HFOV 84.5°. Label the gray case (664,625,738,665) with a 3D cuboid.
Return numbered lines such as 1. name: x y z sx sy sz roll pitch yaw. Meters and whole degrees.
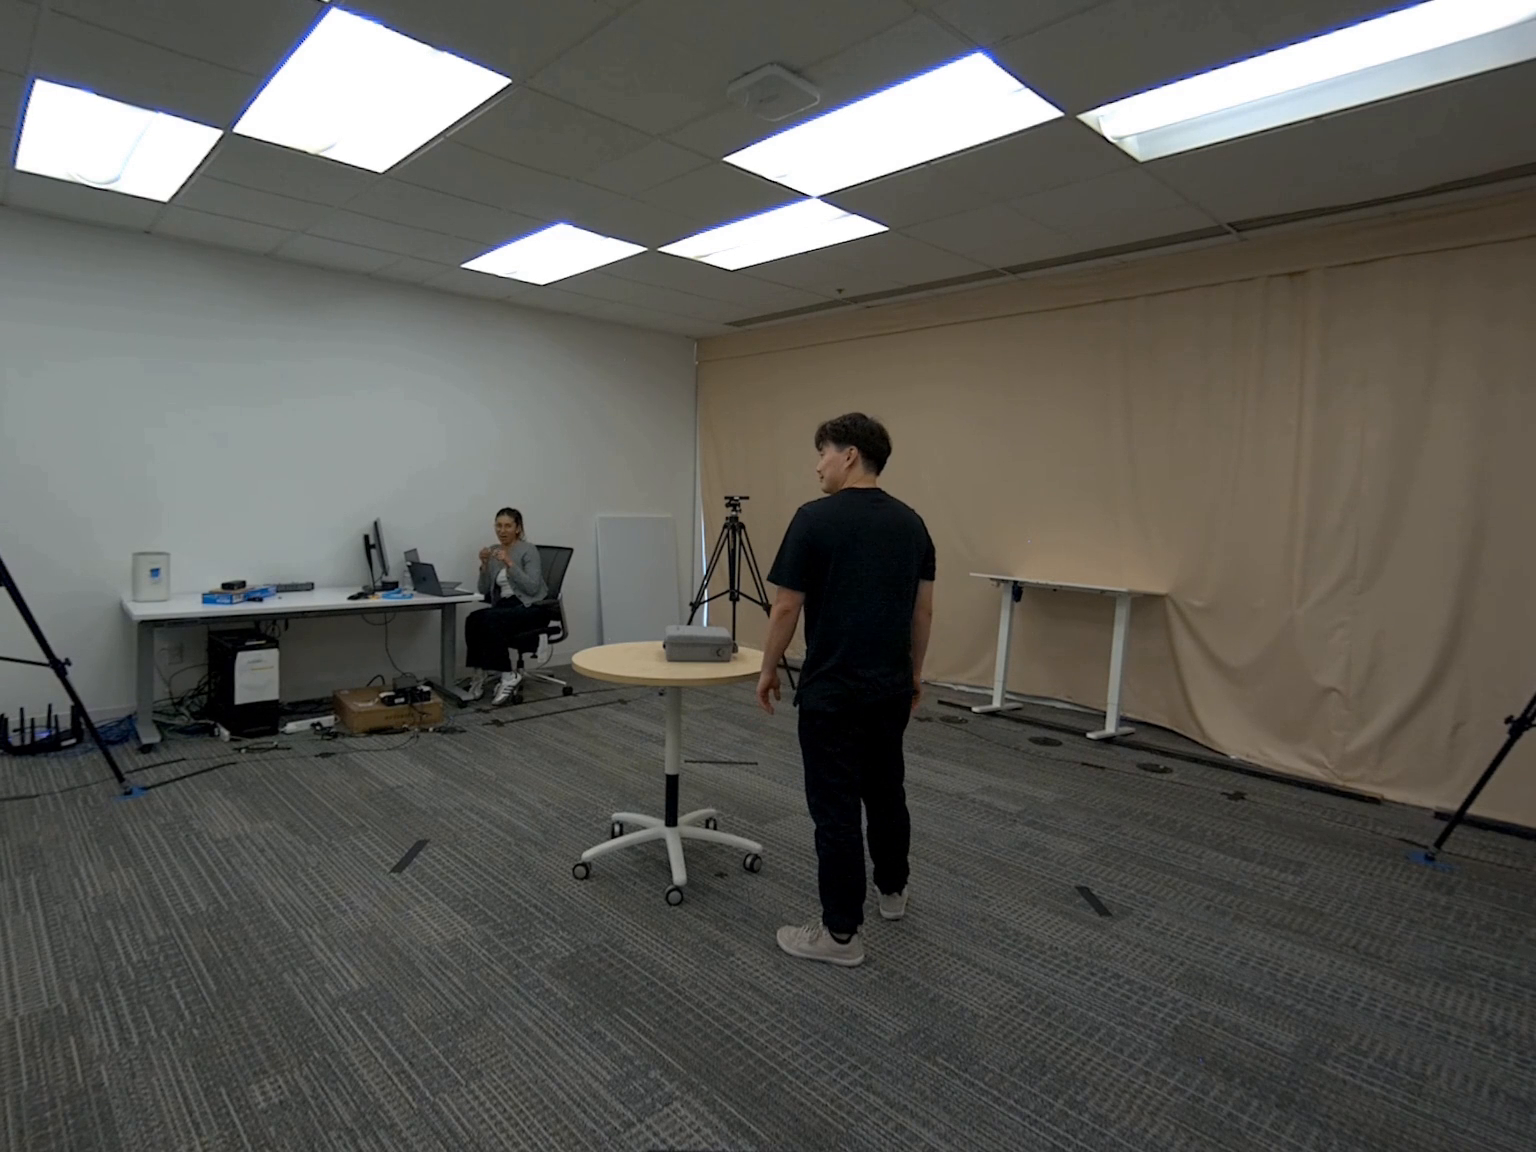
1. gray case: -0.262 0.258 3.214 0.259 0.104 0.259 1 3 -7
